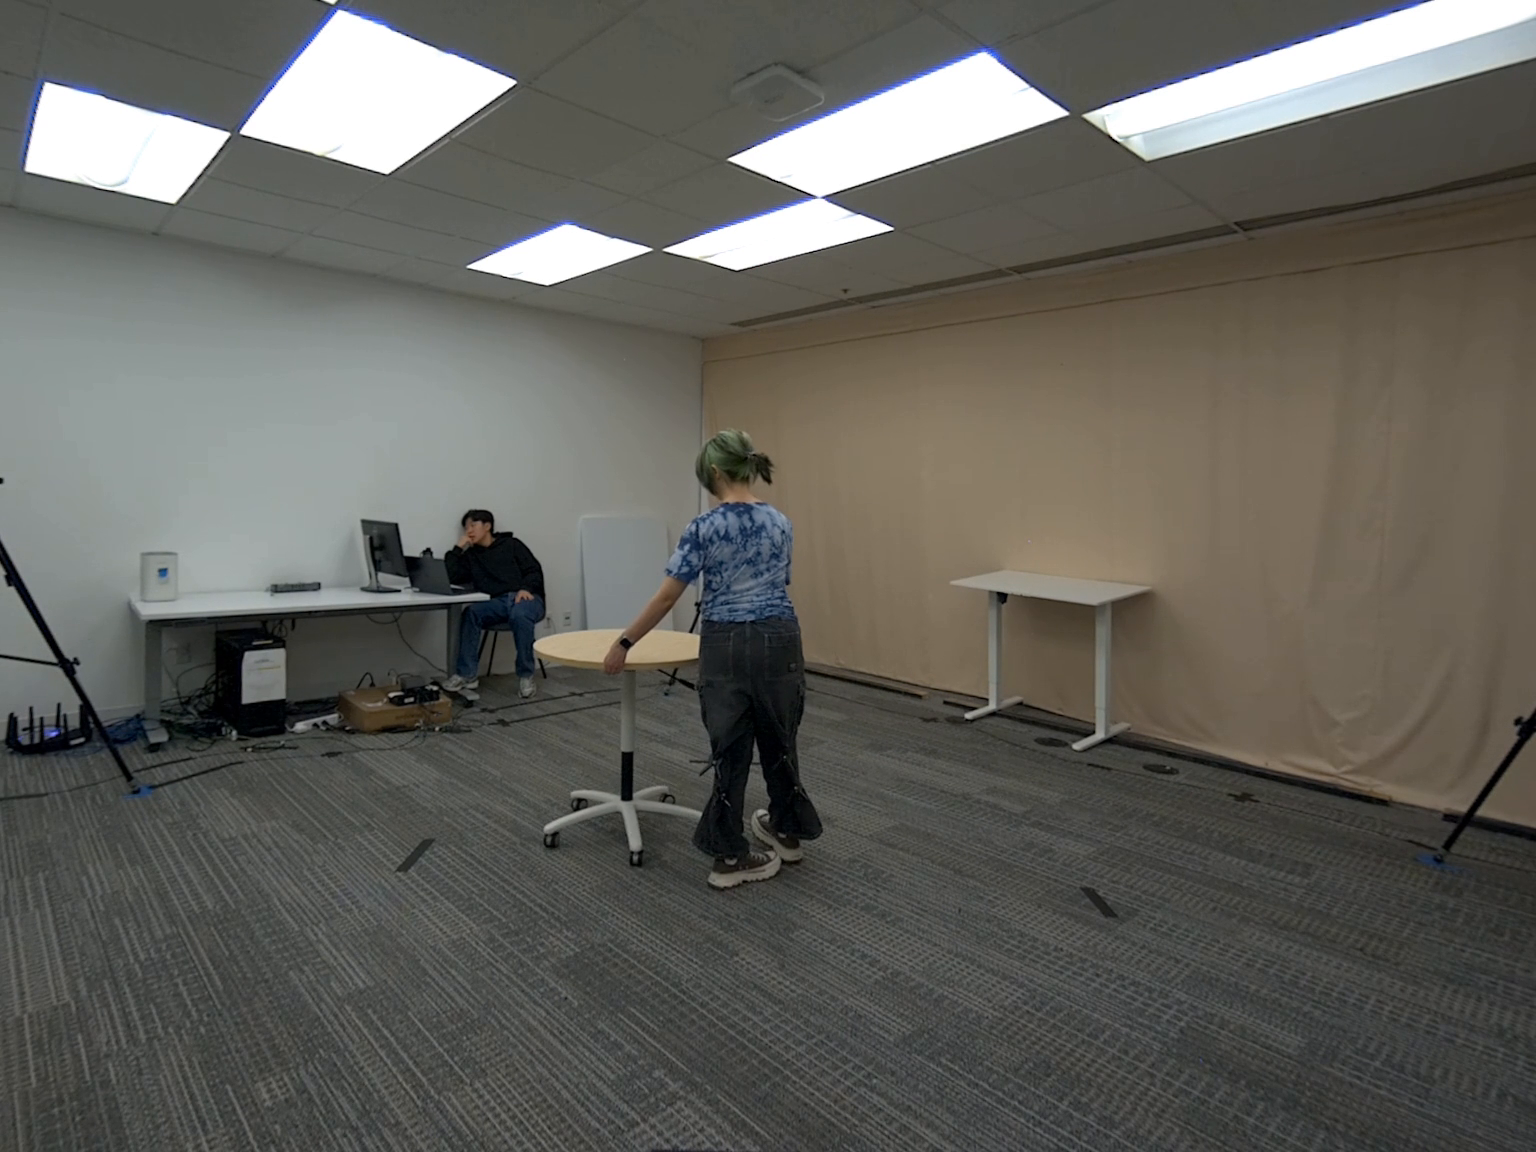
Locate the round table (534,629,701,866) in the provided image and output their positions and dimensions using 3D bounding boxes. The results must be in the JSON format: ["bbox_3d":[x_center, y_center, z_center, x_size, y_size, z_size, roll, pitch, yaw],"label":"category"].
[{"bbox_3d":[-0.576,0.672,3.455,0.763,0.792,0.766,1,4,-1],"label":"round table"}]
